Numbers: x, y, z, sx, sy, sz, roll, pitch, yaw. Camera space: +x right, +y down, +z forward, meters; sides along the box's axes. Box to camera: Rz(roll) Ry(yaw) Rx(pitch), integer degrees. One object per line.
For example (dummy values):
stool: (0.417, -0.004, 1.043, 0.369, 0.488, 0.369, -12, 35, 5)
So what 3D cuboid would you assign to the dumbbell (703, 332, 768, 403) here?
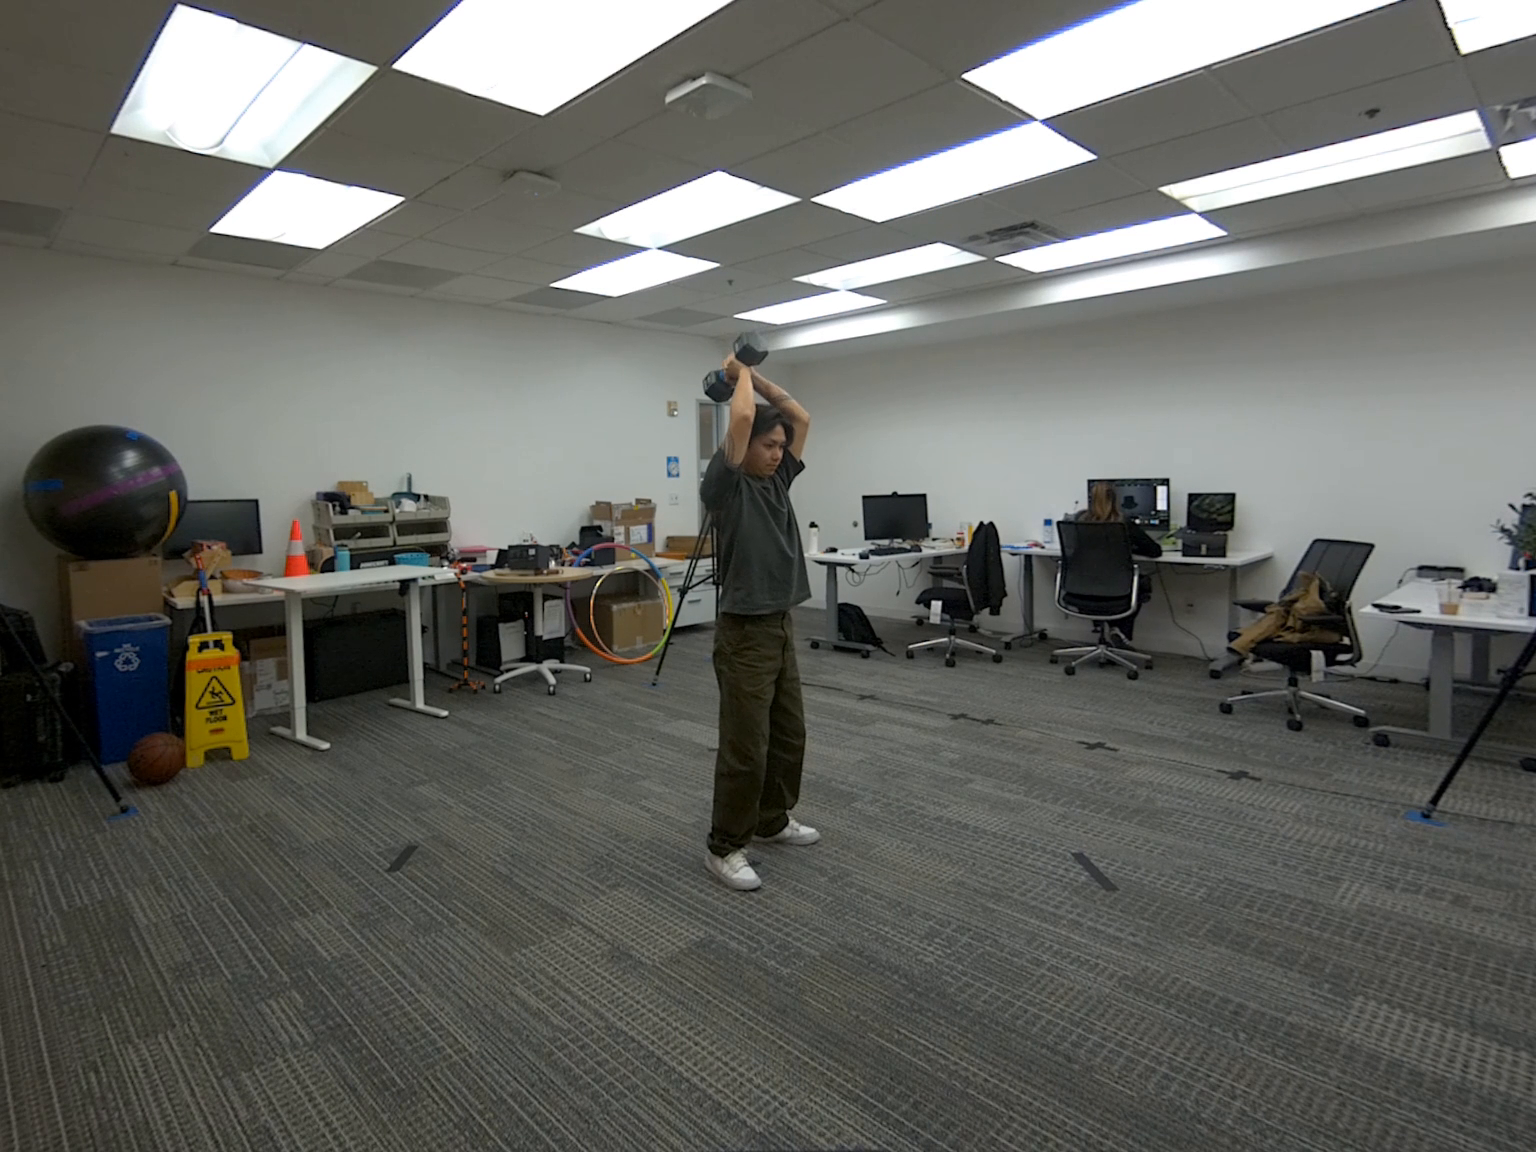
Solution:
dumbbell: (-0.114, -0.762, 3.114, 0.105, 0.126, 0.294, 16, -38, -32)
